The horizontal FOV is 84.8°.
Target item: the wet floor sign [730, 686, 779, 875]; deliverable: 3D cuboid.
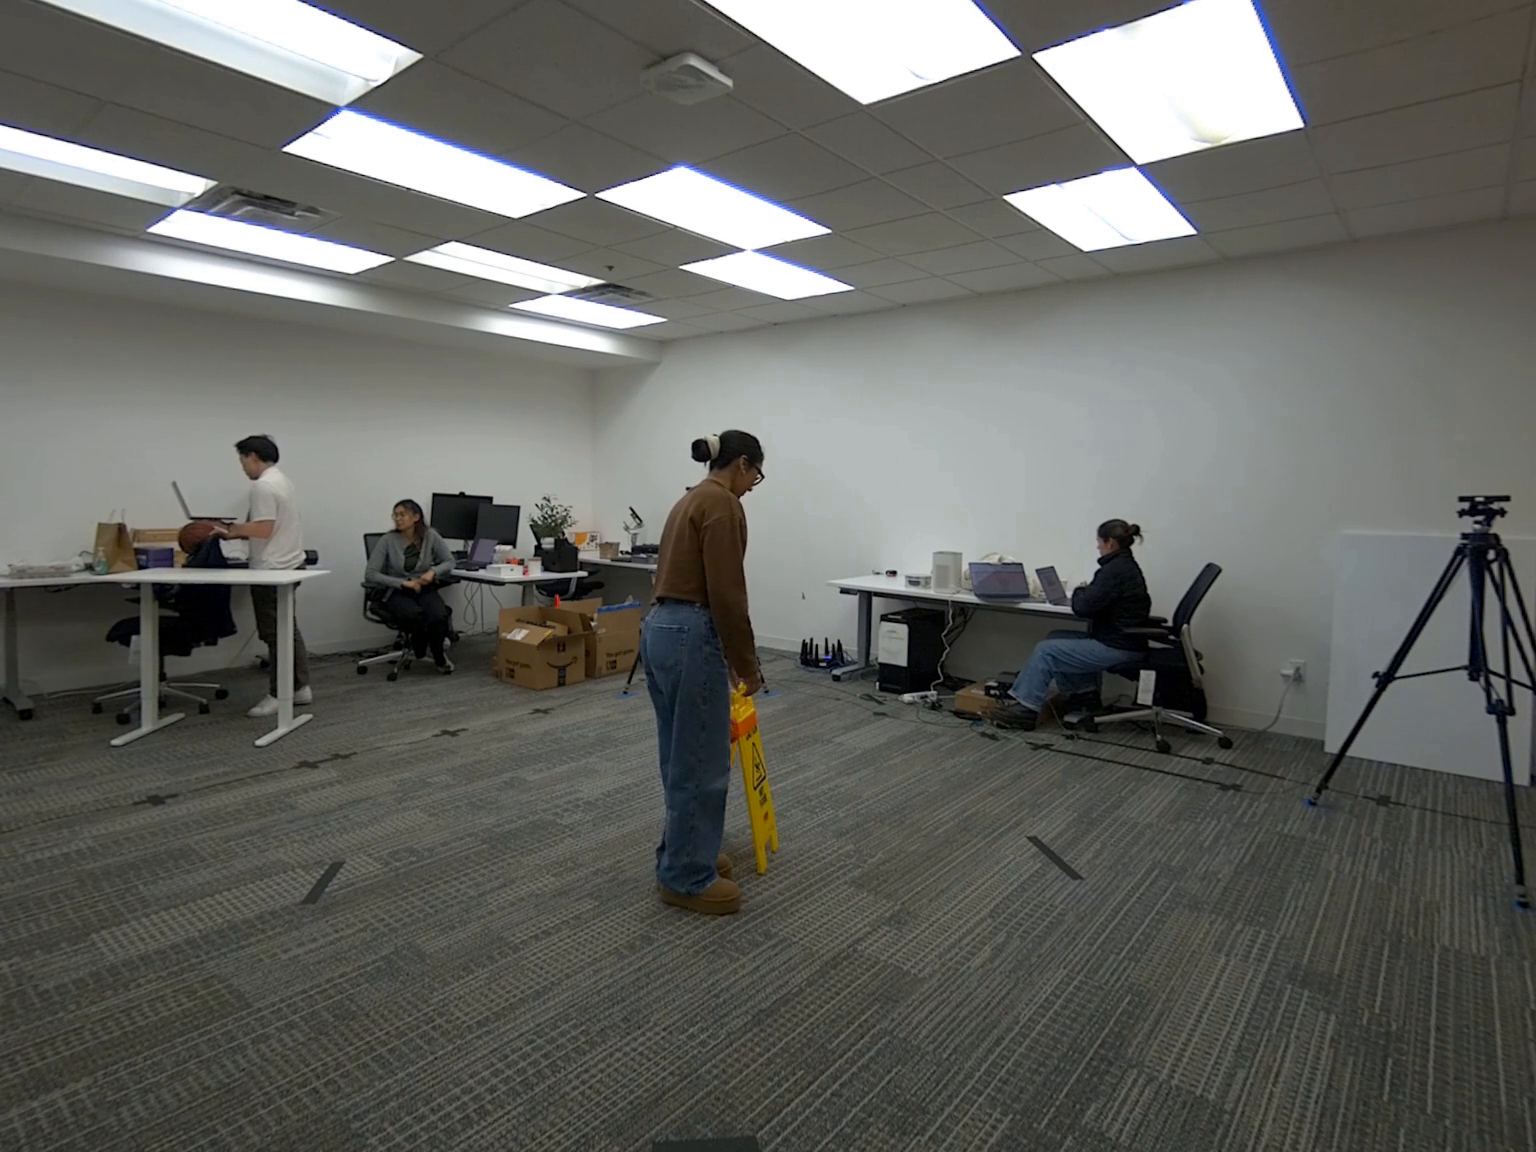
[{"bbox_3d":[-0.116,0.731,3.218,0.295,0.643,0.278,2,4,16],"label":"wet floor sign"}]
